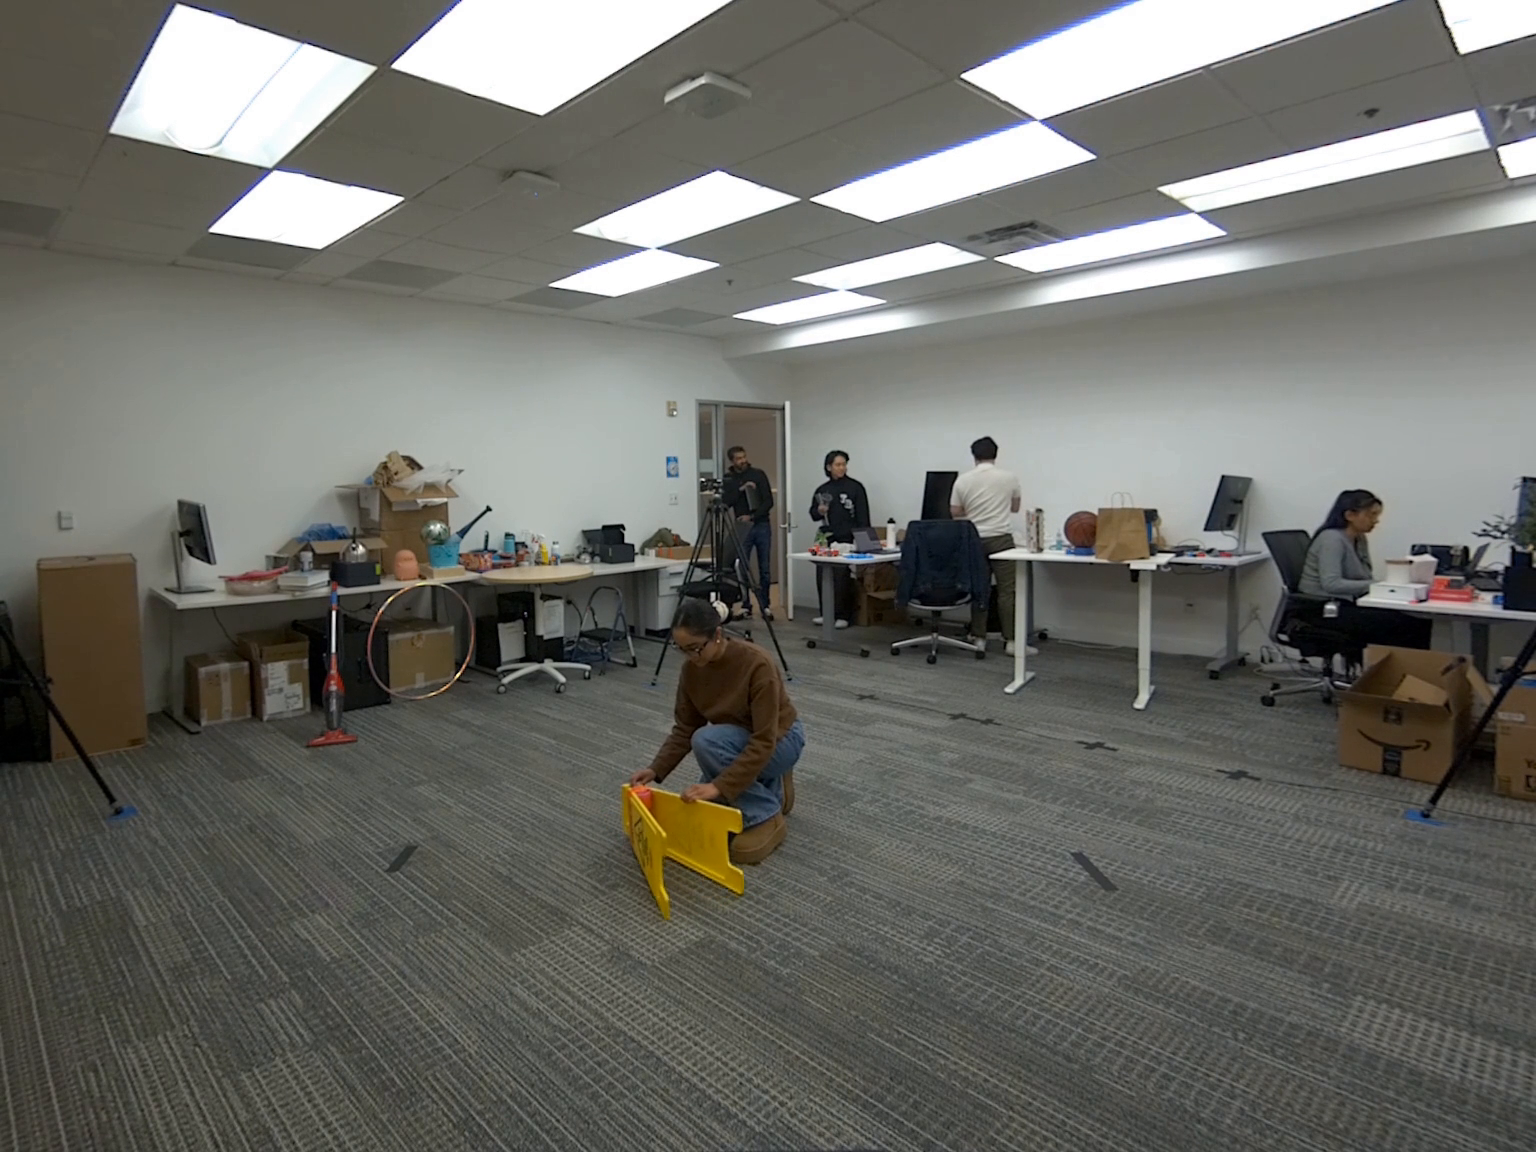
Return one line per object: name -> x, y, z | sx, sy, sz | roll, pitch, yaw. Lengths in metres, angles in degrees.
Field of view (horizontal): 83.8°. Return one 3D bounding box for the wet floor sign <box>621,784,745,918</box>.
wet floor sign -> -0.377, 0.919, 3.050 | 0.283, 0.281, 0.664 | -7, 6, -32
